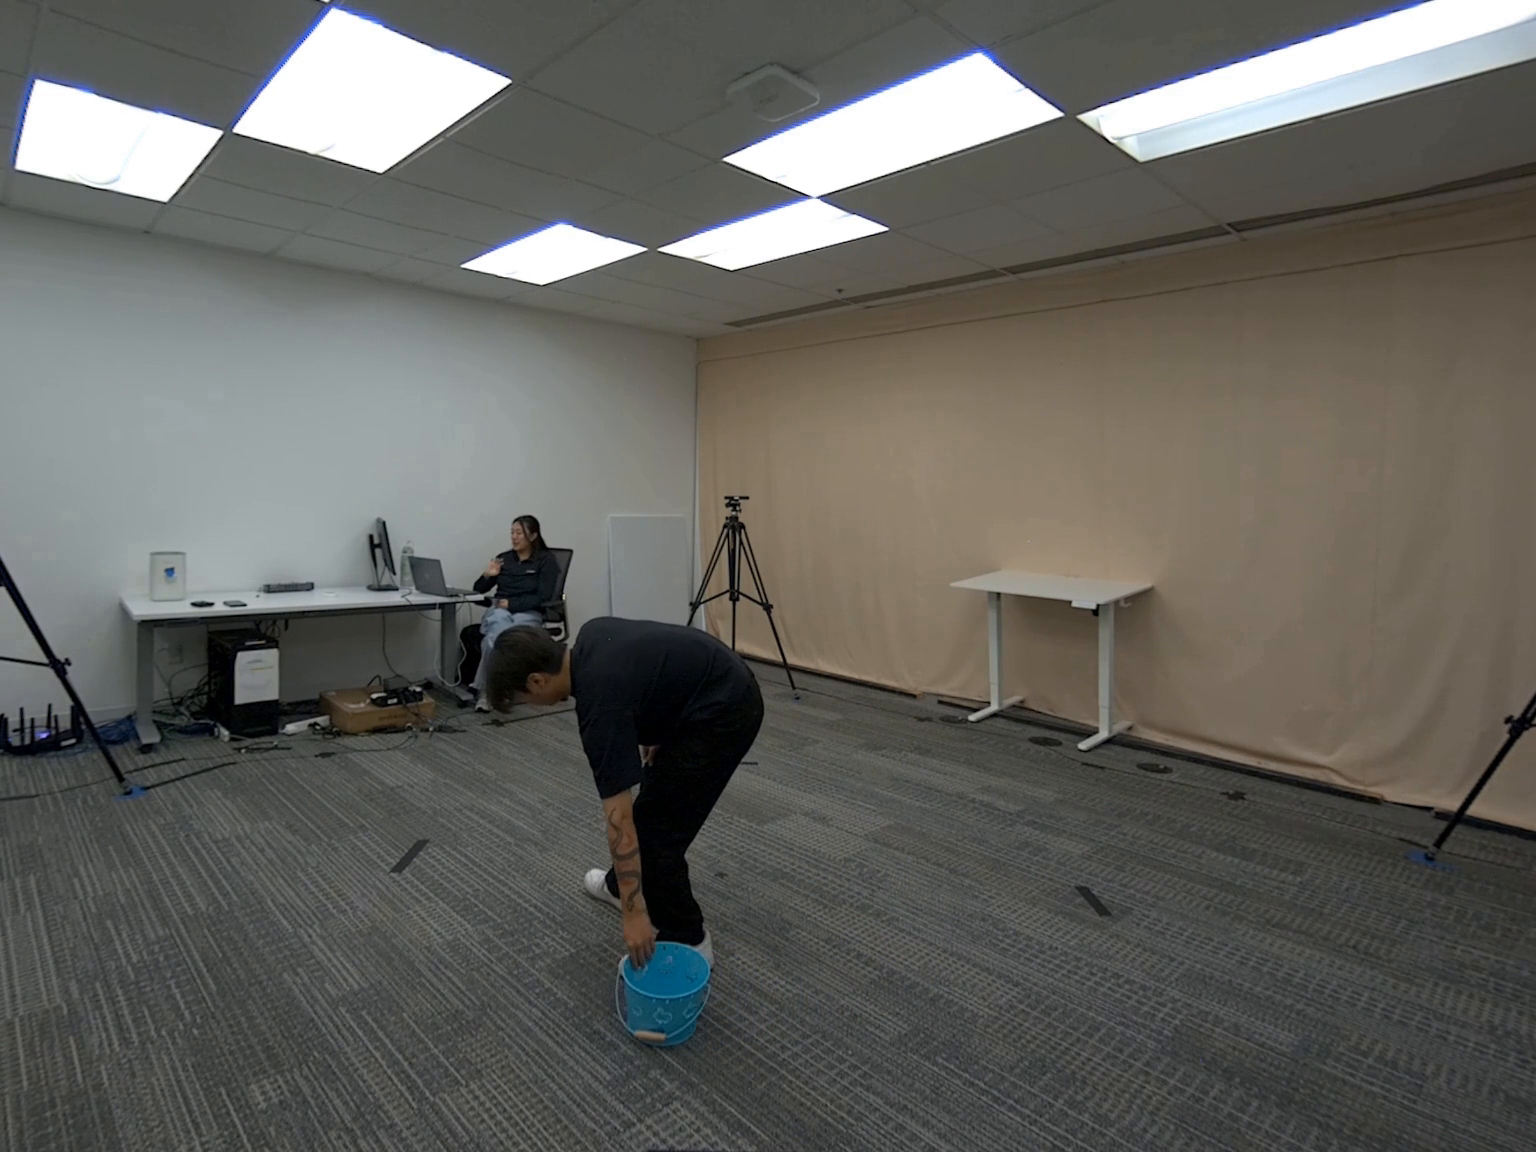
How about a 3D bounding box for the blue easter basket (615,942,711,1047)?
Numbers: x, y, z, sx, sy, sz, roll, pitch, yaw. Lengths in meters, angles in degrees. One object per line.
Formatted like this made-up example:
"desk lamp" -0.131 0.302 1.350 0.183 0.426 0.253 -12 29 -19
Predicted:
"blue easter basket" -0.287 1.107 2.207 0.243 0.155 0.245 3 7 -2
